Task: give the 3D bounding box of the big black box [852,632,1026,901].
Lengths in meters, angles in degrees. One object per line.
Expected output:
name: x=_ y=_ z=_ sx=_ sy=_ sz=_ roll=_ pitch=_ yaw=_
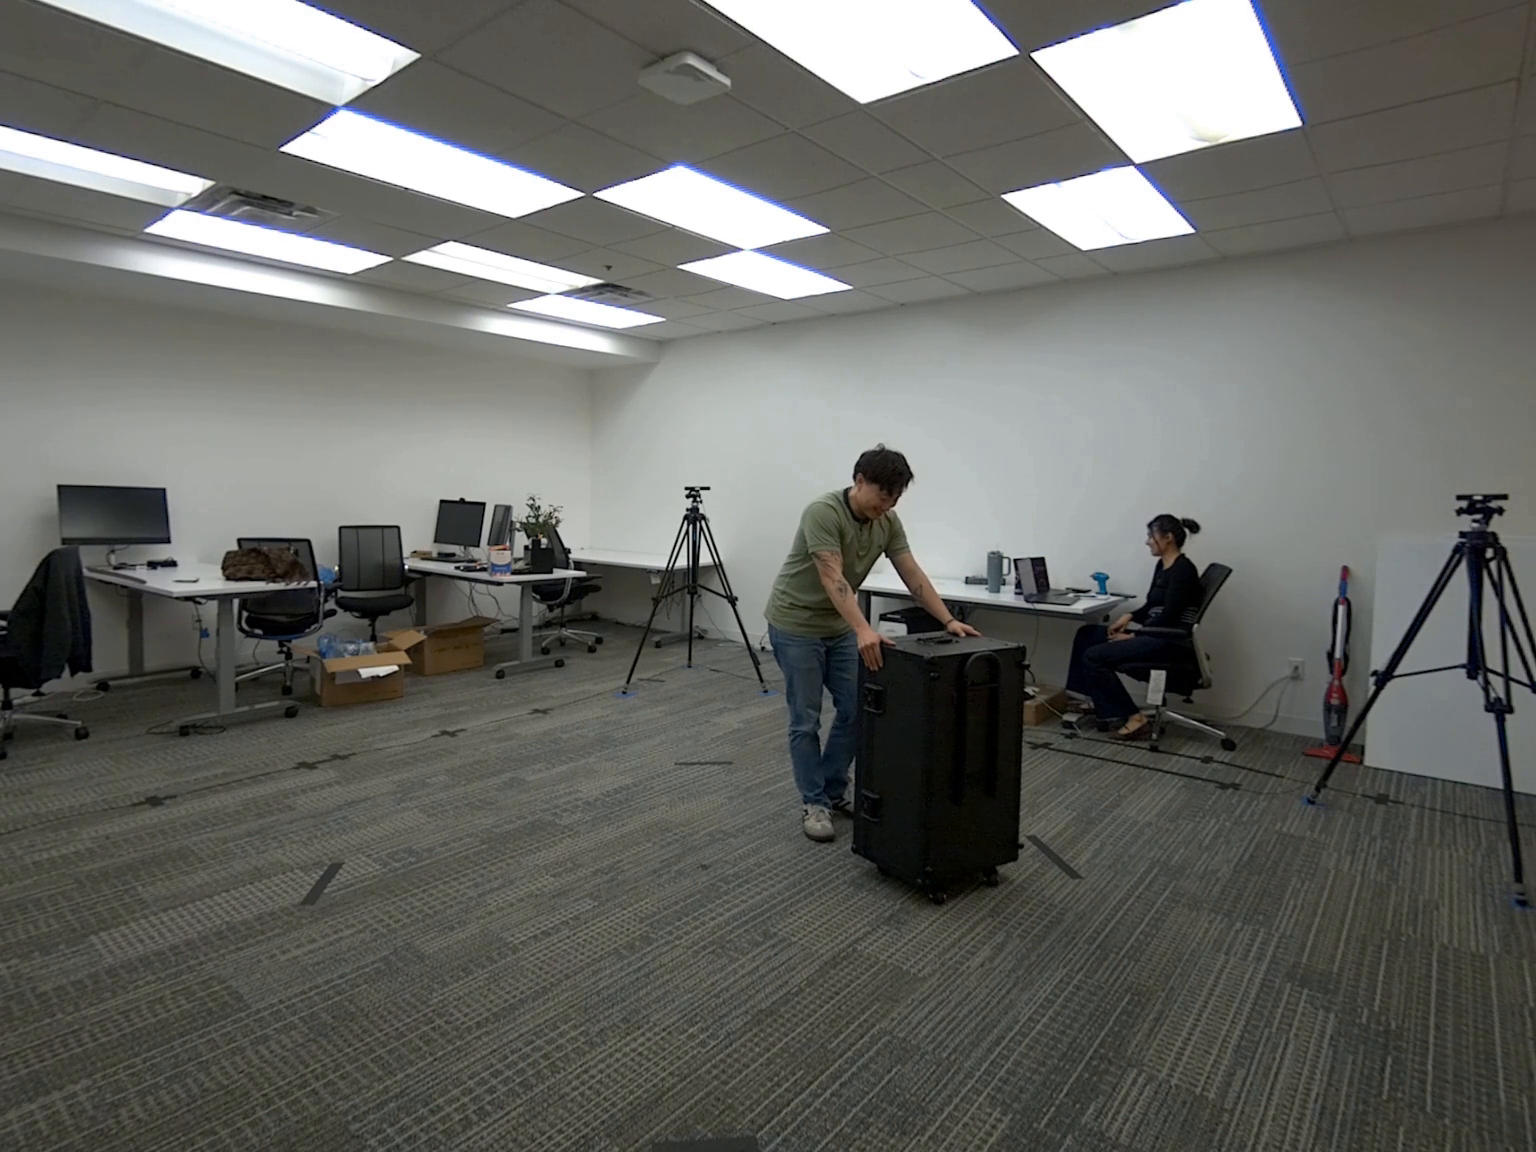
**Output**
big black box: x=0.622 y=0.661 z=3.058 sx=0.506 sy=0.858 sz=0.409 roll=-1 pitch=5 yaw=-33
